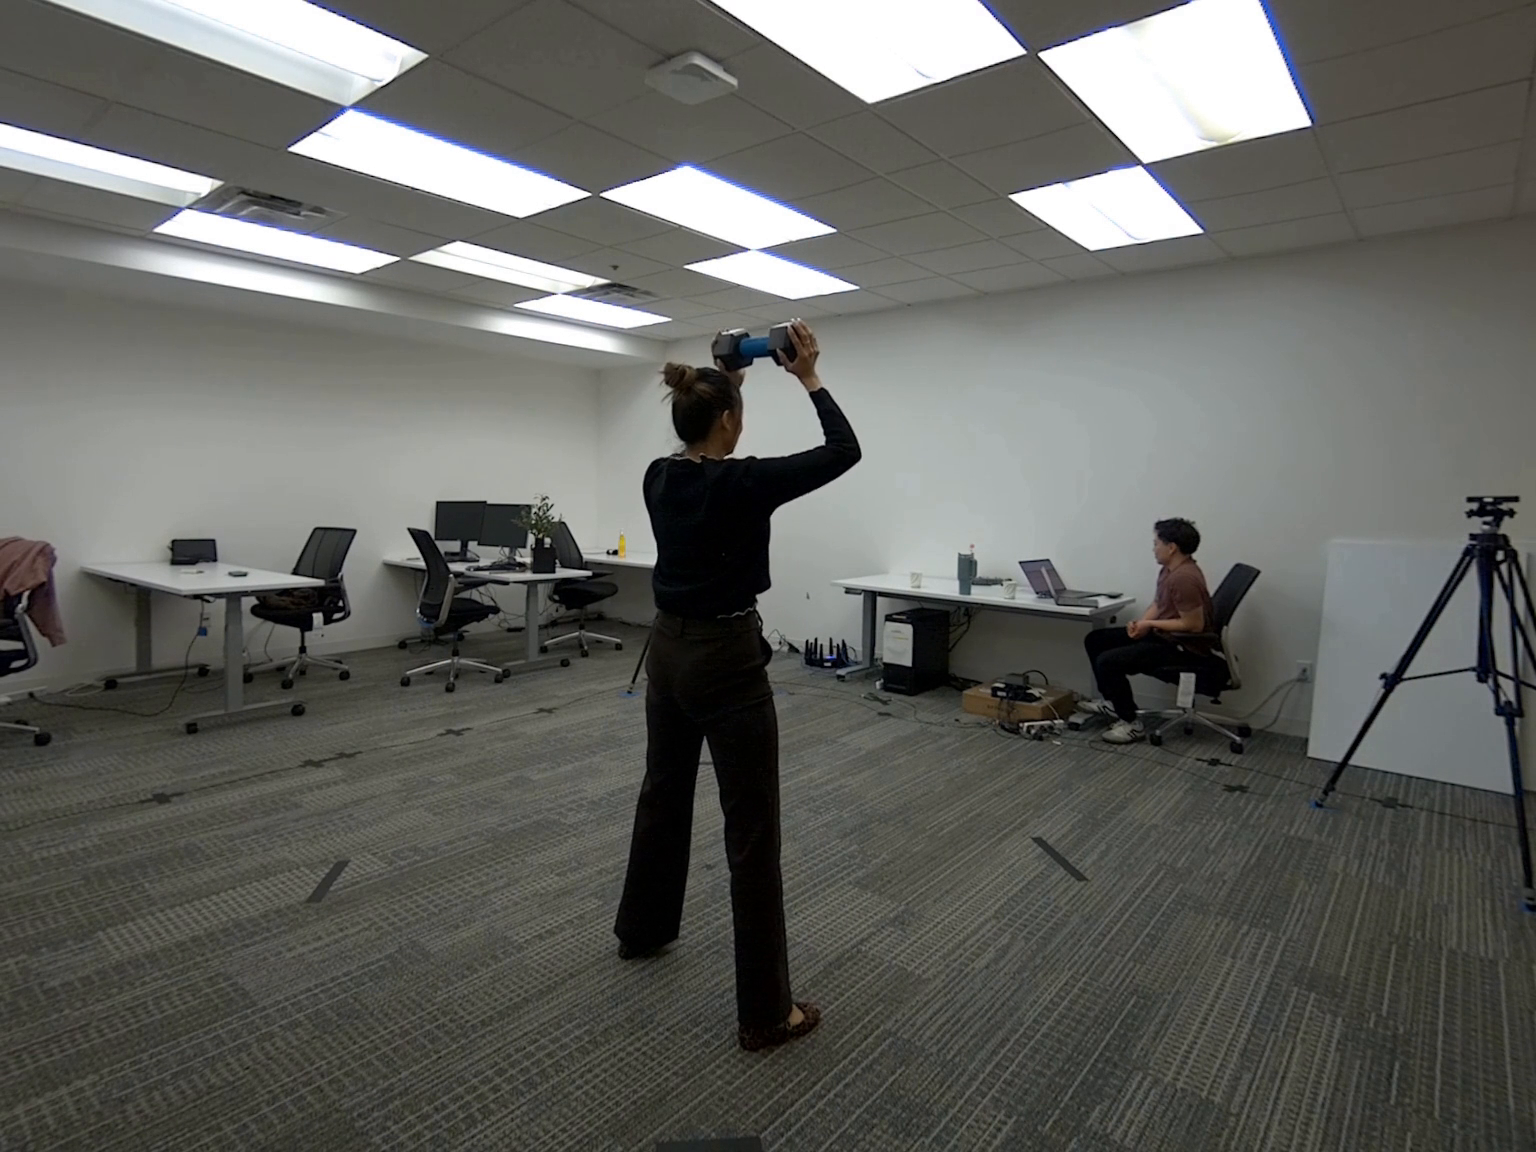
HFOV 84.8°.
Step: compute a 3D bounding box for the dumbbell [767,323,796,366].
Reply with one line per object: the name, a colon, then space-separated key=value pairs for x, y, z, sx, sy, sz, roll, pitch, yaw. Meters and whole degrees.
dumbbell: x=-0.030 y=-0.642 z=2.391 sx=0.304 sy=0.109 sz=0.118 roll=8 pitch=-29 yaw=44
